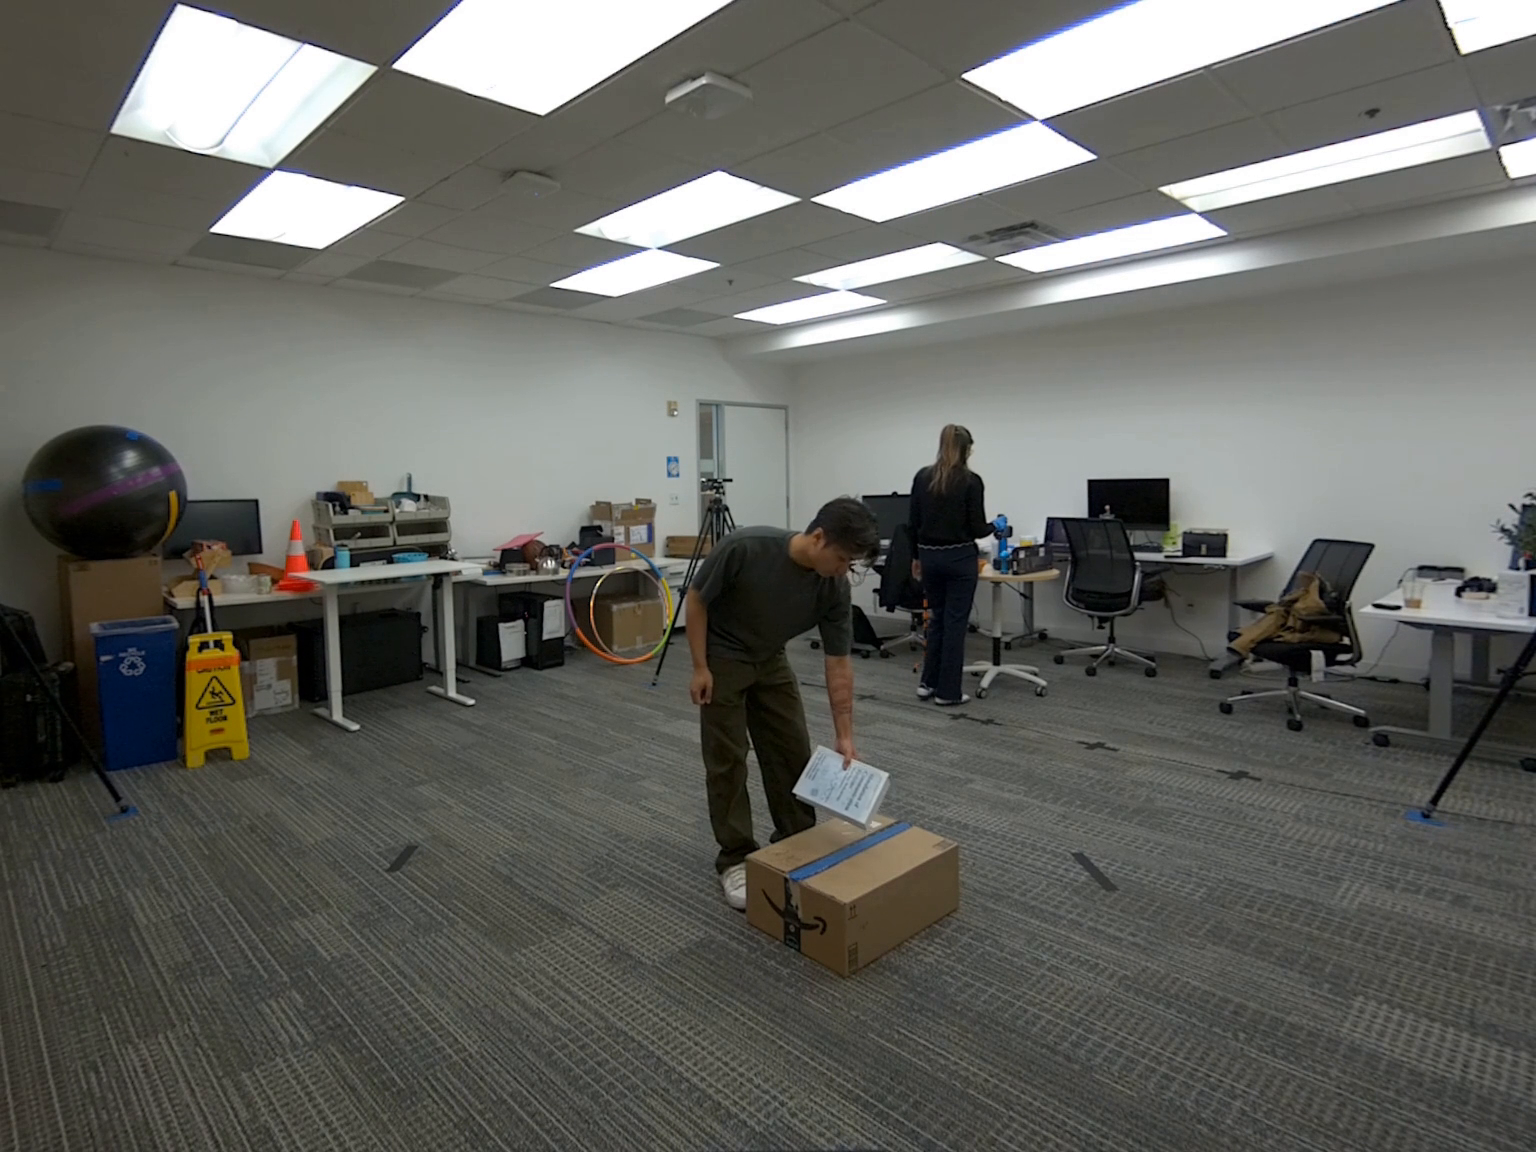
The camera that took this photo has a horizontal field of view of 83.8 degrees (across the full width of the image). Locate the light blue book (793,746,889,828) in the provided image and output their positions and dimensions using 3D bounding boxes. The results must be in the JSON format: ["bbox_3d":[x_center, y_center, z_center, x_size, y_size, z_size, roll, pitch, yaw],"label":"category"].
[{"bbox_3d":[0.245,0.687,2.771,0.269,0.192,0.057,15,-34,29],"label":"light blue book"}]
